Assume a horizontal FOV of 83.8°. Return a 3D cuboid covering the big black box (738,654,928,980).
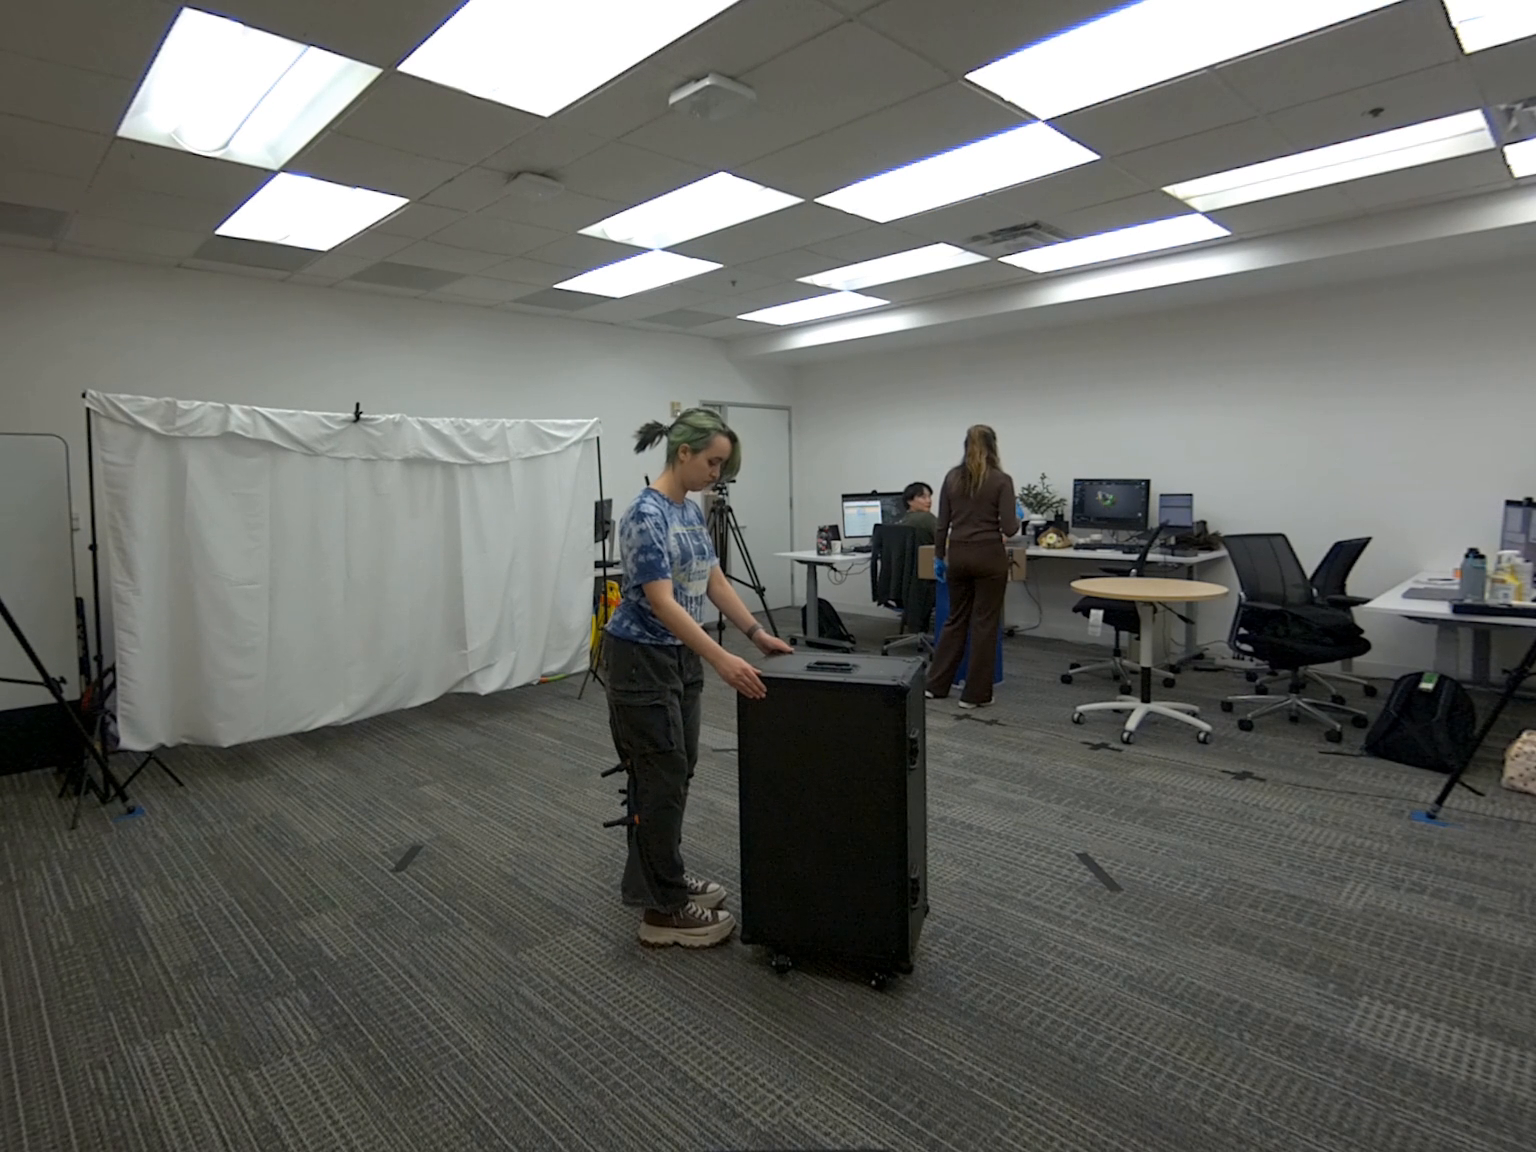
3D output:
[{"bbox_3d":[0.197,0.689,2.518,0.532,0.859,0.389,1,3,21],"label":"big black box"}]
